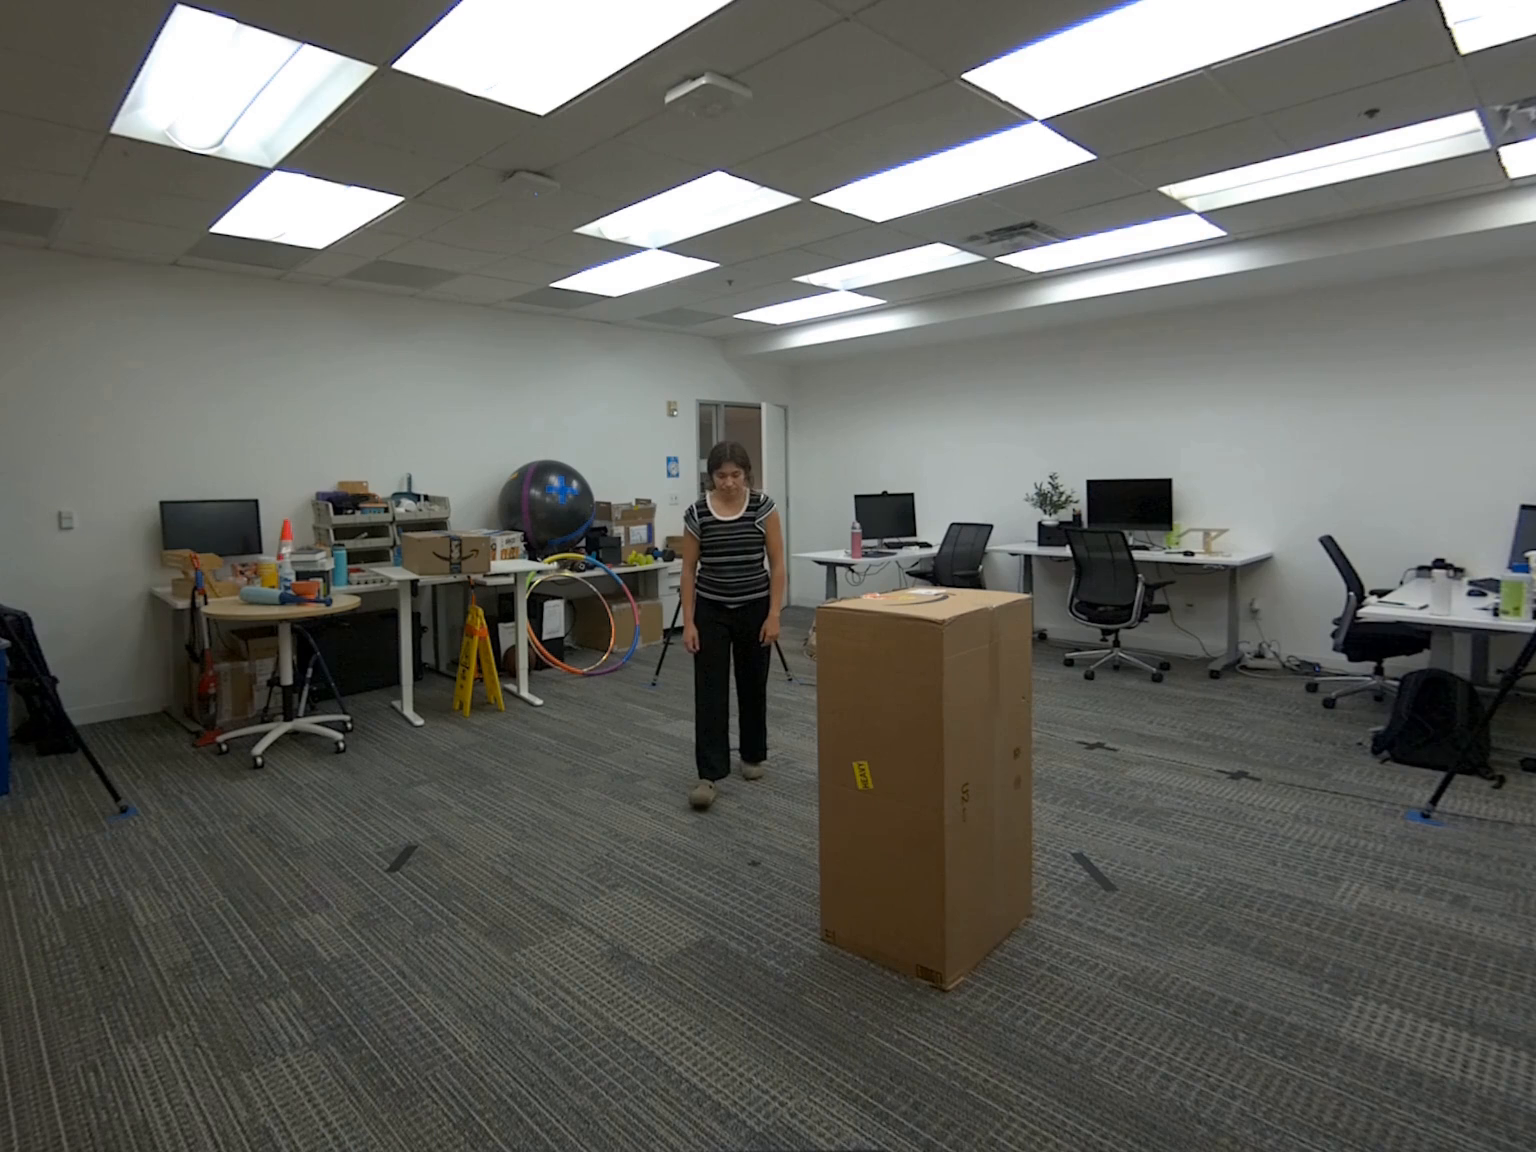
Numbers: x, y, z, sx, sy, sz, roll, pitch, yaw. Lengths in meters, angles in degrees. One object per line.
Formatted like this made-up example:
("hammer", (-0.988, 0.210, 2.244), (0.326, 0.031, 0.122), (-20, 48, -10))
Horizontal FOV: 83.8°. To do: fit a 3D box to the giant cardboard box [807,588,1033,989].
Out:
("giant cardboard box", (0.496, 0.584, 2.625), (0.439, 1.022, 0.562), (2, 5, 41))
